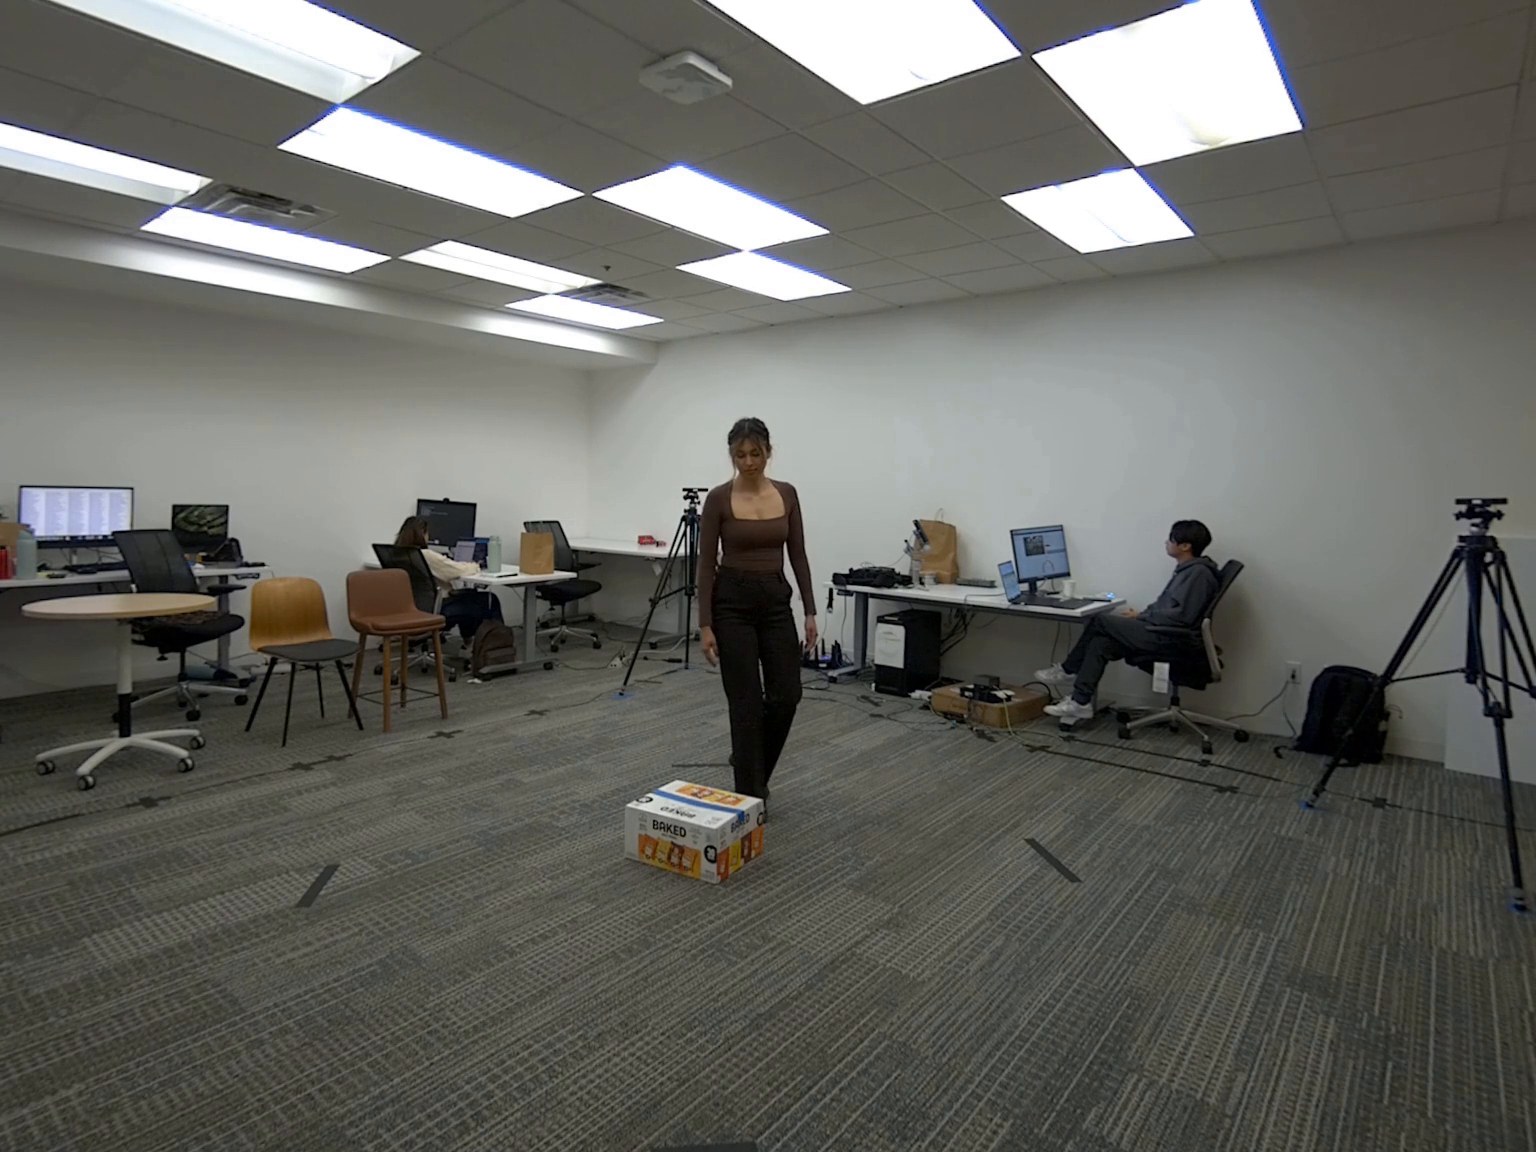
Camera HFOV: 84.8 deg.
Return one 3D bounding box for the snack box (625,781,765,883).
[{"bbox_3d":[-0.289,0.955,3.226,0.417,0.205,0.331,4,5,30],"label":"snack box"}]
